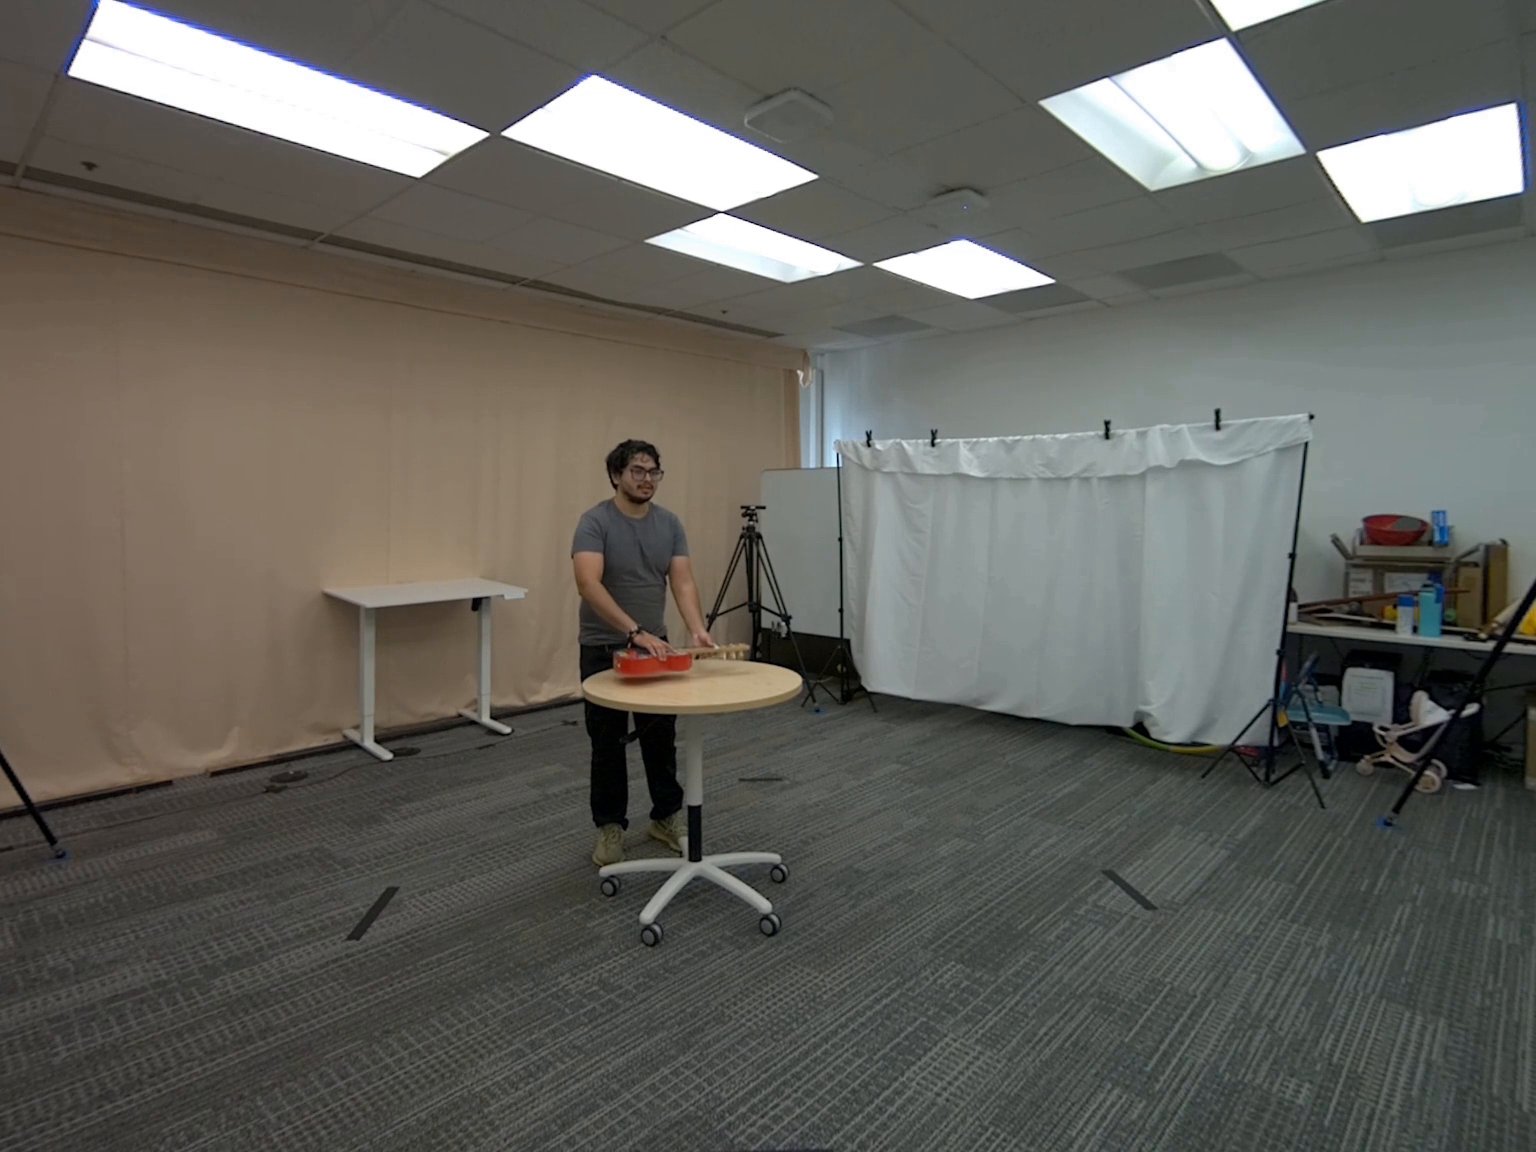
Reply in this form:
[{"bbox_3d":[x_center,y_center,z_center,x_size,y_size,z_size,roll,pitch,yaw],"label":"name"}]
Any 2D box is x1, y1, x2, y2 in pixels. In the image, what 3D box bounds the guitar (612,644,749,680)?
[{"bbox_3d":[-0.295,0.294,2.951,0.495,0.070,0.194,-1,4,-6],"label":"guitar"}]
